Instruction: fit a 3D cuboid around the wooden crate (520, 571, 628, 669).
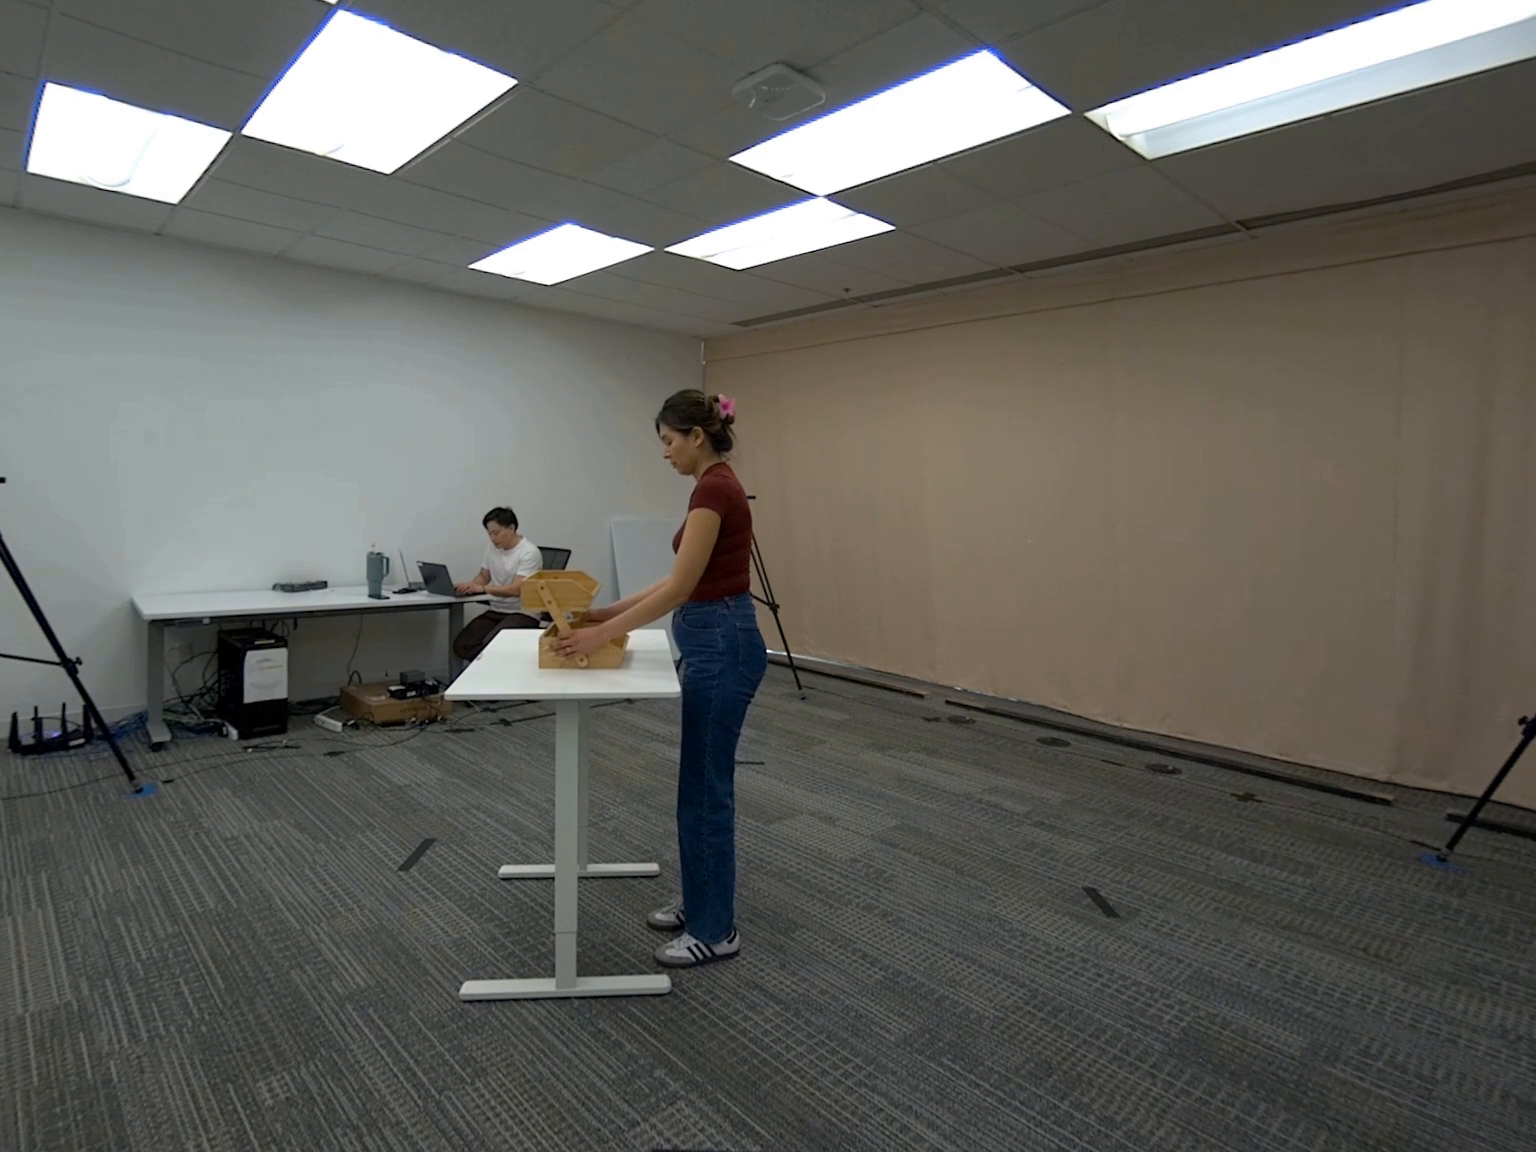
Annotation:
[{"bbox_3d":[-0.584,0.126,2.598,0.301,0.272,0.327,-1,5,-5],"label":"wooden crate"}]
